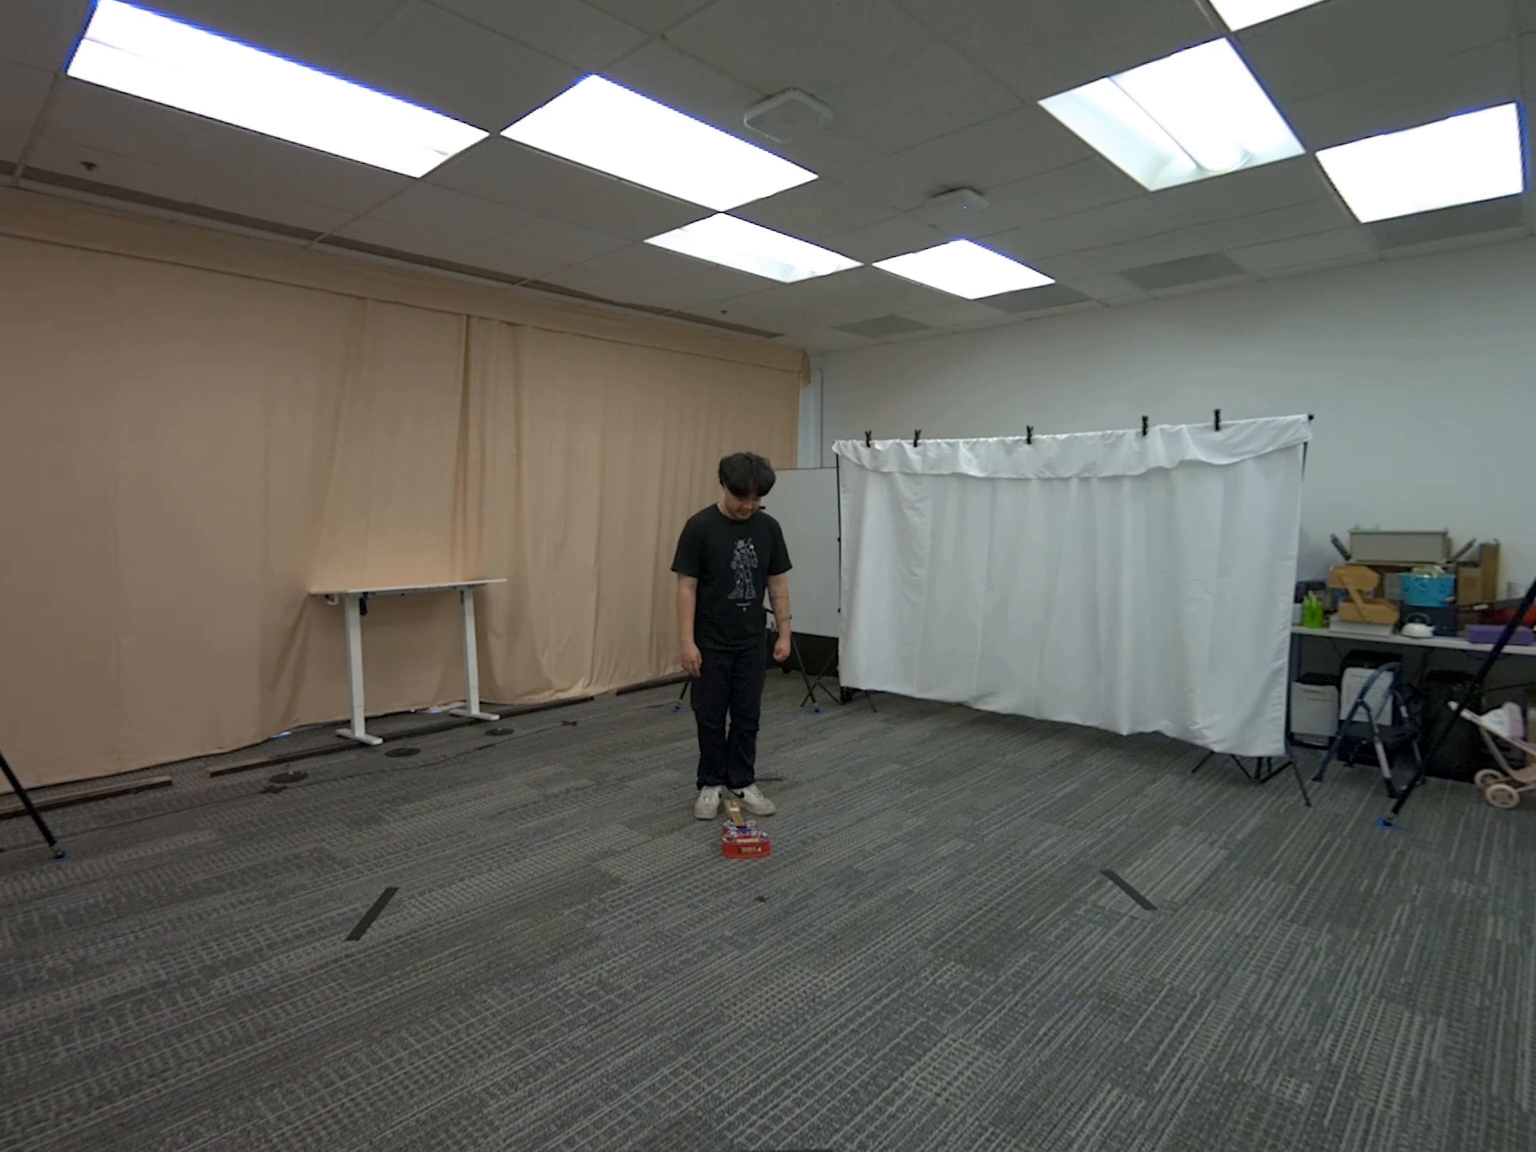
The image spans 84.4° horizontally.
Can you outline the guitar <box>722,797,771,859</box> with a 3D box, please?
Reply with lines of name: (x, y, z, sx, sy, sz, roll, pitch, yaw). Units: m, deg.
guitar: (-0.100, 1.056, 3.571, 0.193, 0.070, 0.500, -1, 5, -3)
